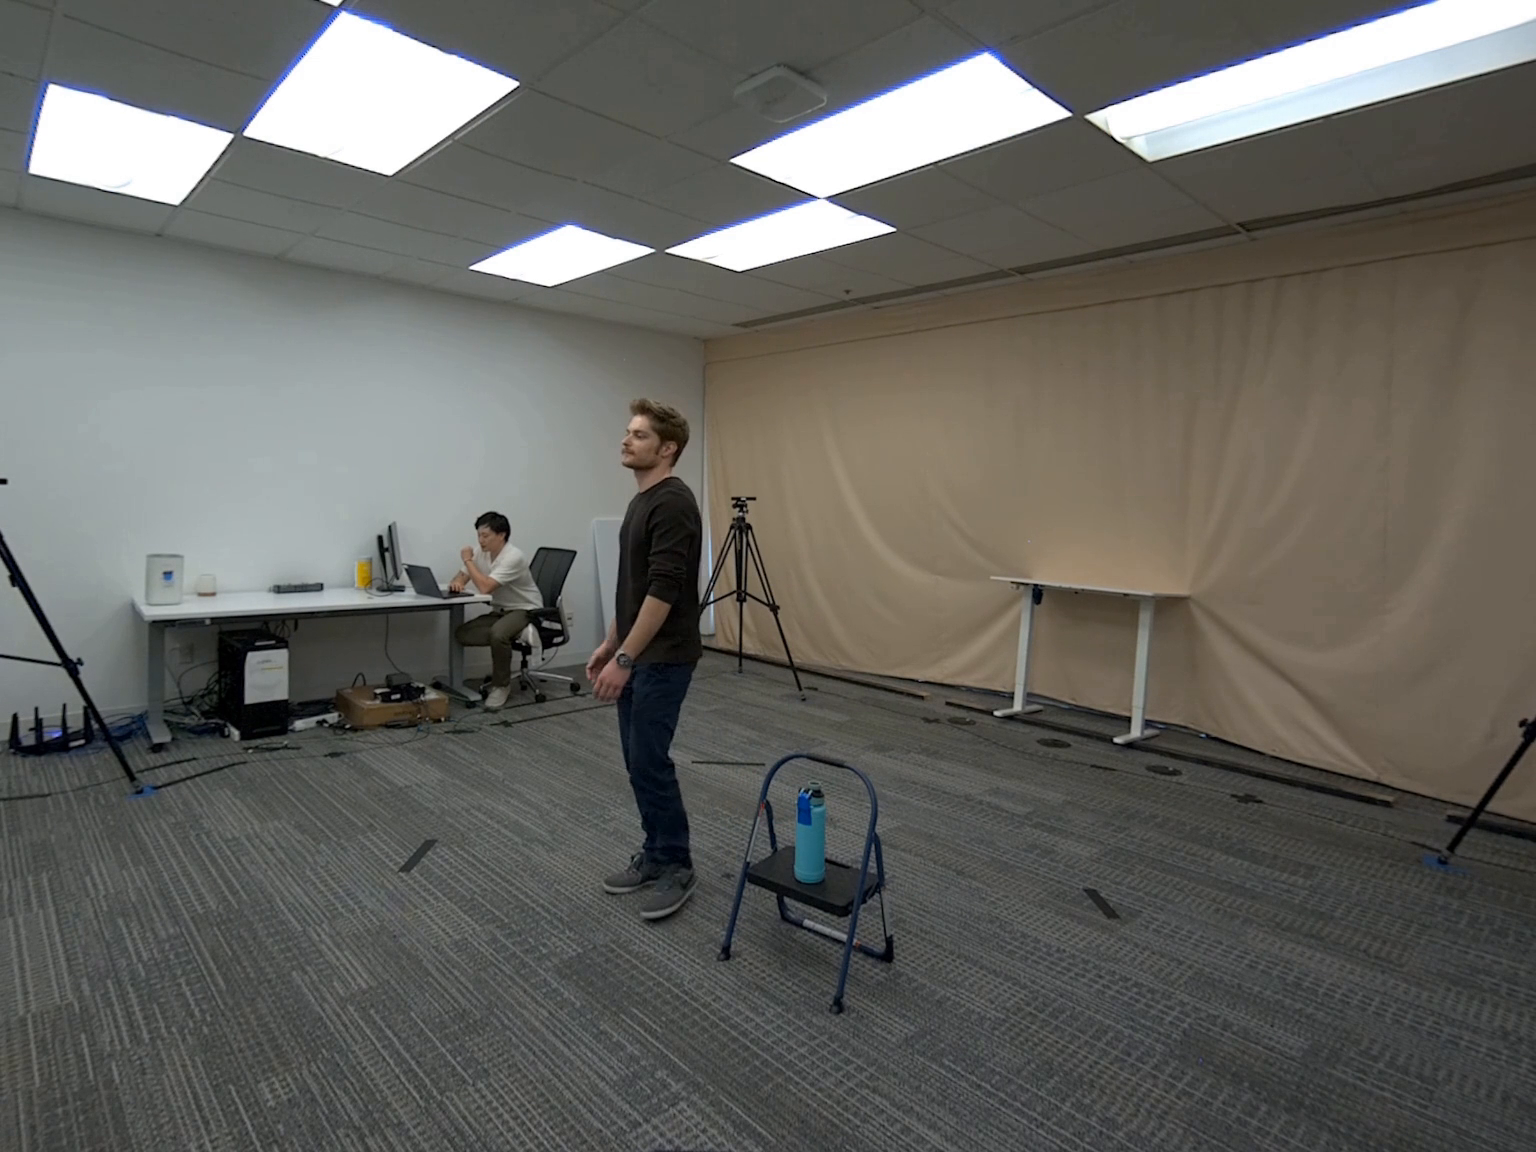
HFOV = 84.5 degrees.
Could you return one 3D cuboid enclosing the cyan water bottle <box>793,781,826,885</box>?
[{"bbox_3d":[0.125,0.766,2.512,0.092,0.282,0.093,1,4,-1],"label":"cyan water bottle"}]
